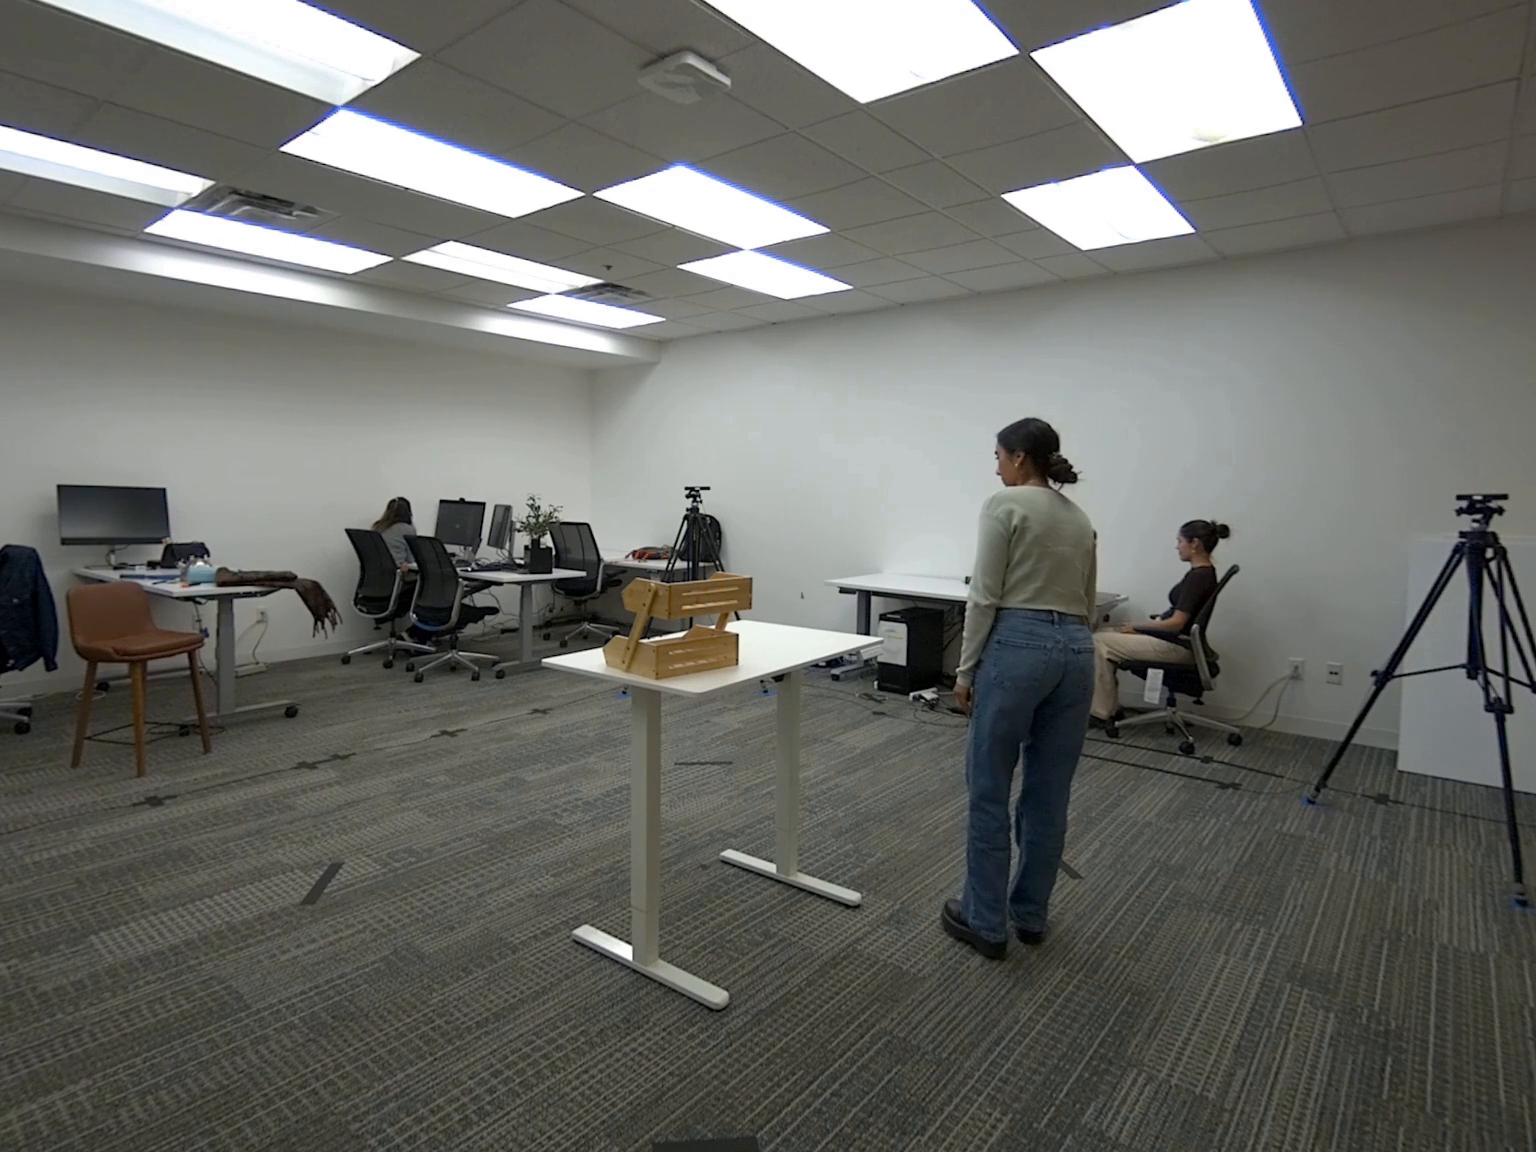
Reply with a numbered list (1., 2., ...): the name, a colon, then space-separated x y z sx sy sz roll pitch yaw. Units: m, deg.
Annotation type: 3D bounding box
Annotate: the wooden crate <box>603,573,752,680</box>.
1. wooden crate: -0.262 0.122 2.408 0.315 0.272 0.312 -4 8 -43
